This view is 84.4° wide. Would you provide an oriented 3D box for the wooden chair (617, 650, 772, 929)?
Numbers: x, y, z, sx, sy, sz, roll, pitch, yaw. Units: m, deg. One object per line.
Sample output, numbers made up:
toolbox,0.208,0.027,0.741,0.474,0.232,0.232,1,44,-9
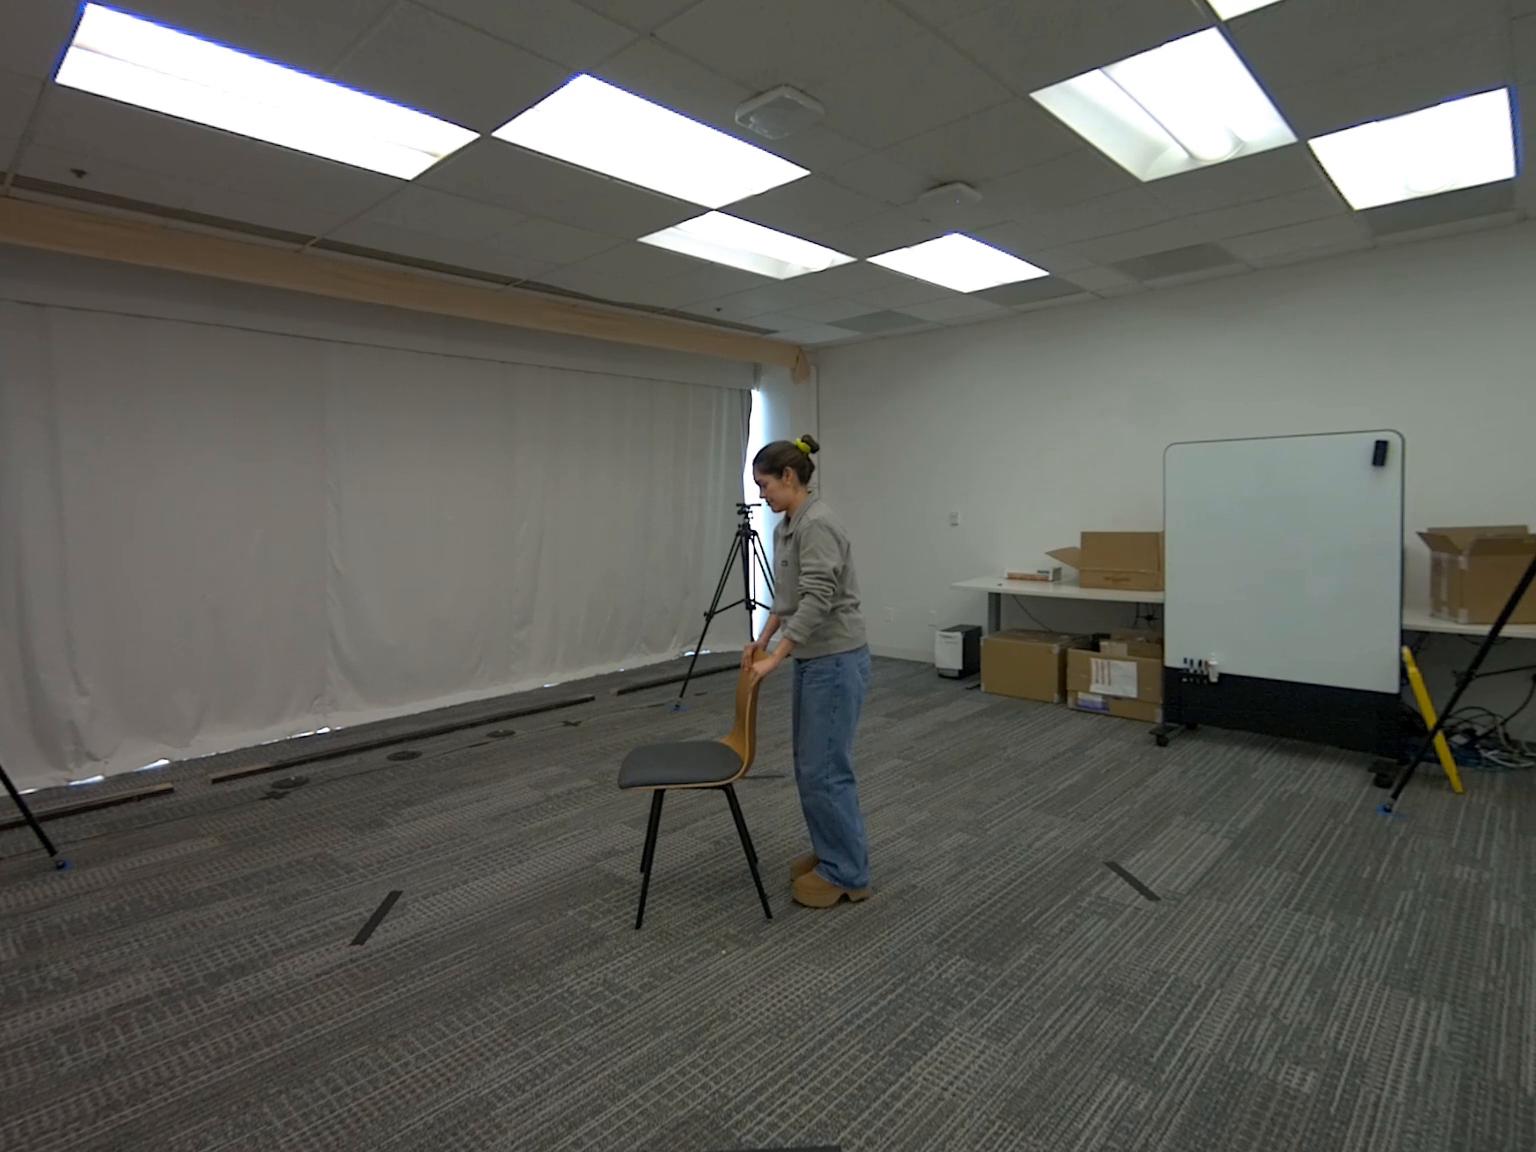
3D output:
wooden chair,-0.268,0.709,2.975,0.521,0.875,0.482,1,4,-5
